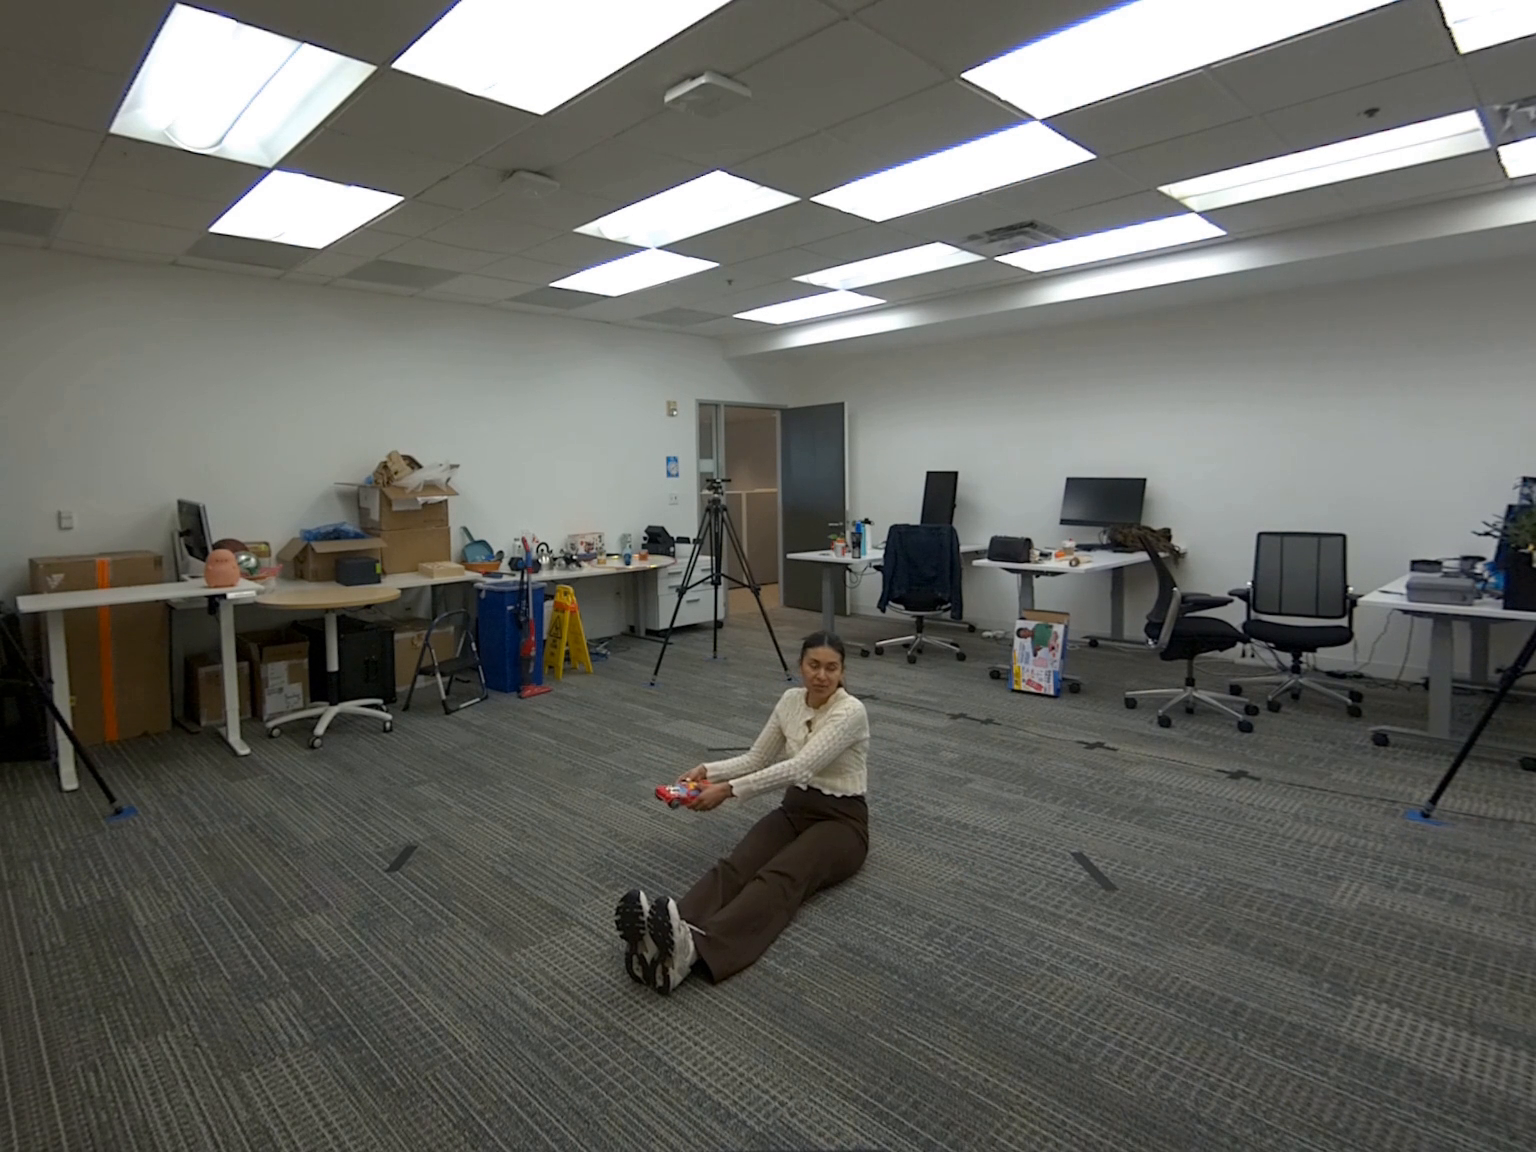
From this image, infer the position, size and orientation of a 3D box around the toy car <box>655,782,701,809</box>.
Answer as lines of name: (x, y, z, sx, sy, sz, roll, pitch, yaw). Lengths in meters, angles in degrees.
toy car: (-0.266, 0.780, 3.036, 0.247, 0.083, 0.134, 1, 6, -35)
